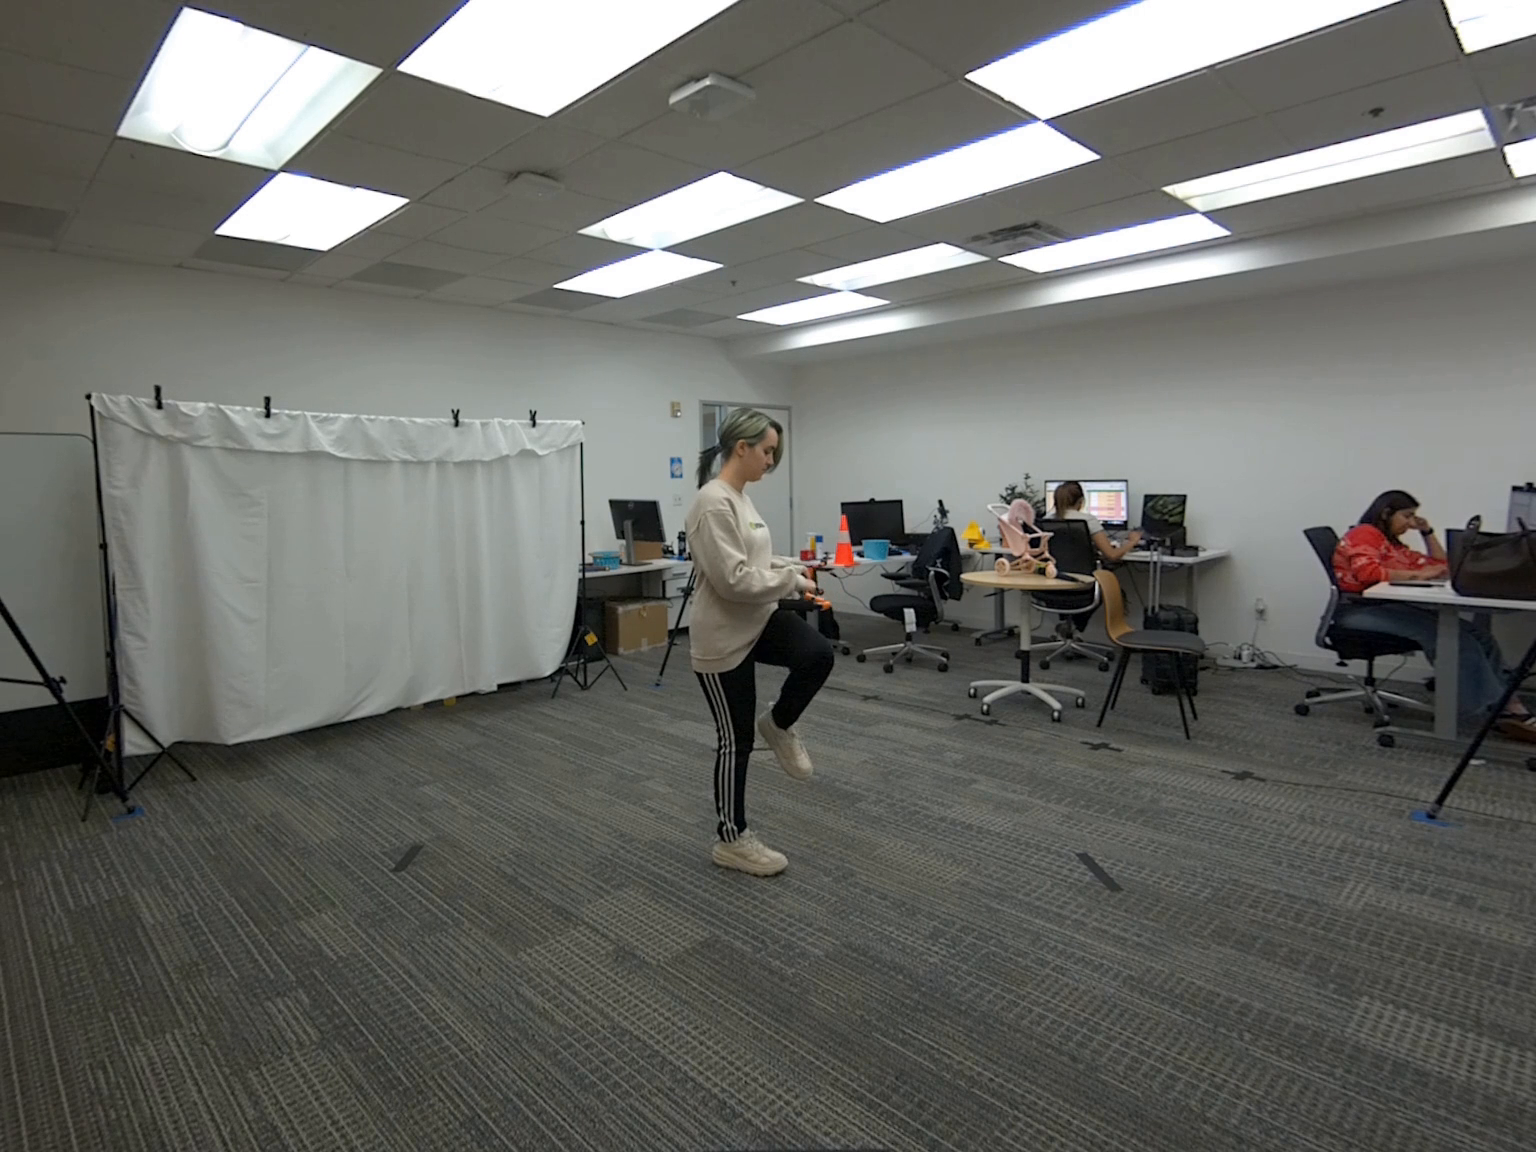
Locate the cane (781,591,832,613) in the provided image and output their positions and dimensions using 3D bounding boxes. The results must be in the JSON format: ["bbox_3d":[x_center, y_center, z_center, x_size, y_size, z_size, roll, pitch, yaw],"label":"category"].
[{"bbox_3d":[0.163,0.063,3.073,0.207,0.151,0.910,5,7,0],"label":"cane"}]
